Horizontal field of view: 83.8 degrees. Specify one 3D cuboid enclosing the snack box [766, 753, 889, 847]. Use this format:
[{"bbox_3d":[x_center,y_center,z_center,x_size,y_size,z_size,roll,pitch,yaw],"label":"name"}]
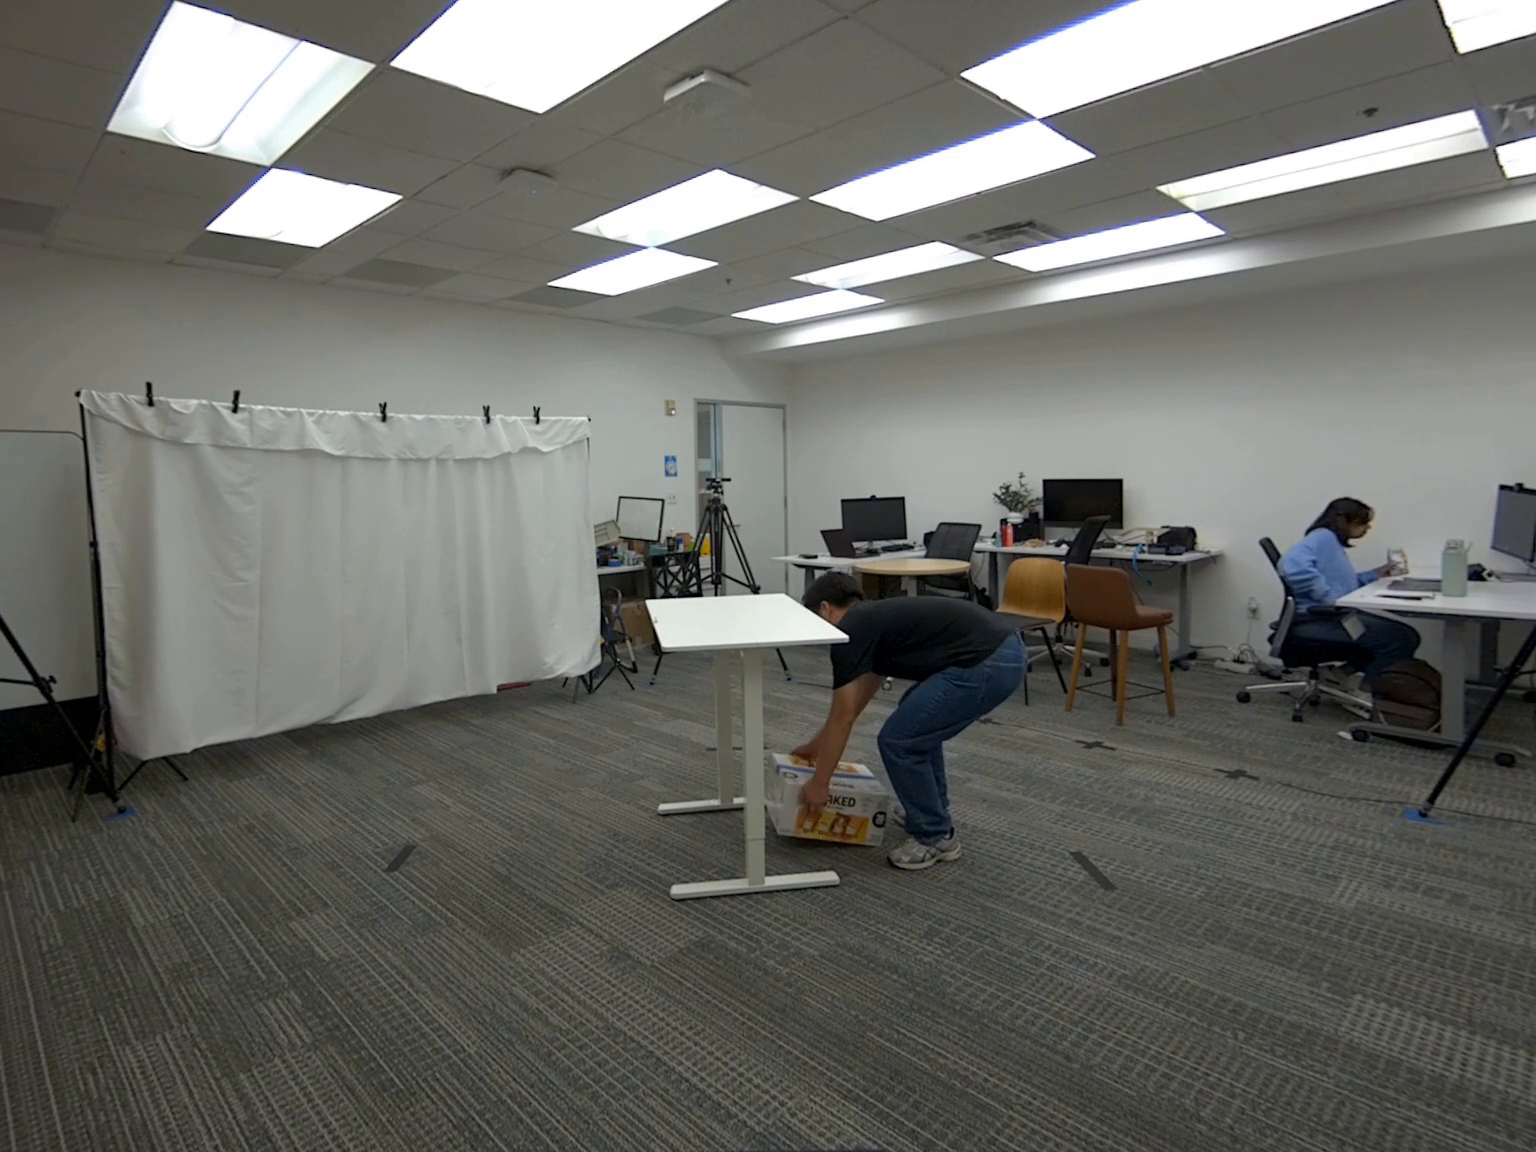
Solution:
[{"bbox_3d":[0.232,0.875,3.356,0.402,0.205,0.344,8,4,-8],"label":"snack box"}]
